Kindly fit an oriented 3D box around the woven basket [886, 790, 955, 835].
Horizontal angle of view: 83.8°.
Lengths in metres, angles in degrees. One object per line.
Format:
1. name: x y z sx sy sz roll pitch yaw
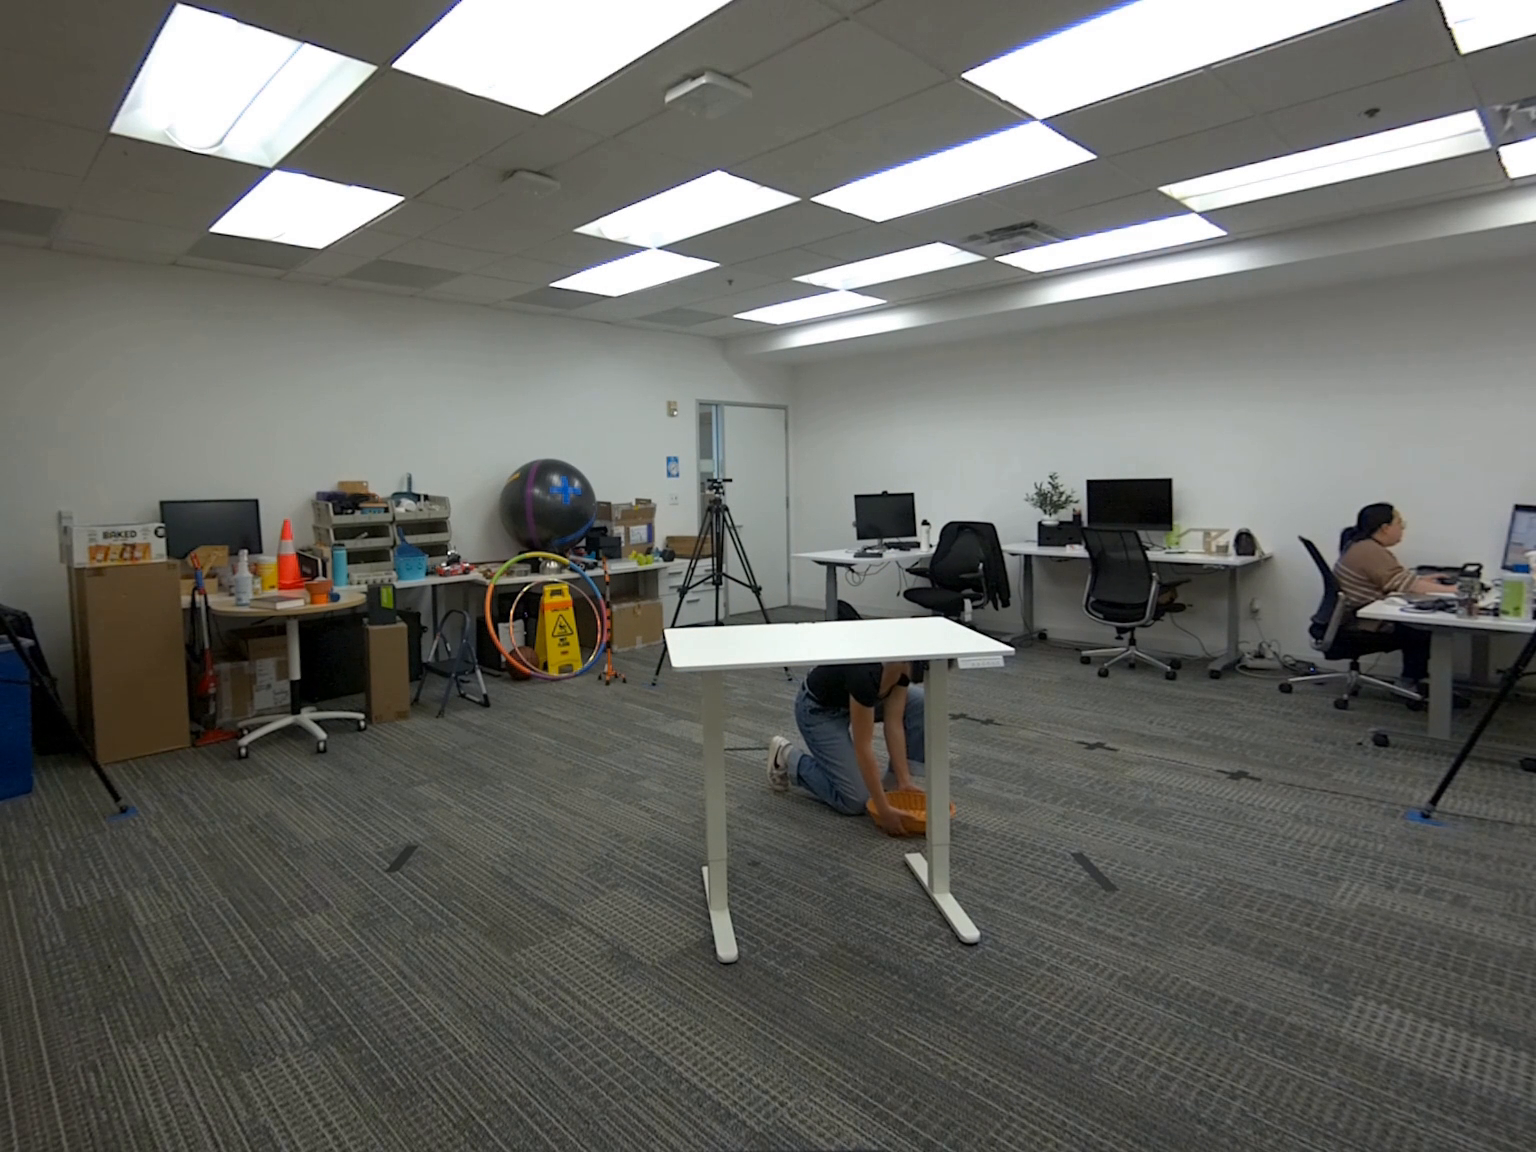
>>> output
1. woven basket: 0.565 0.946 3.399 0.356 0.073 0.250 1 8 17
